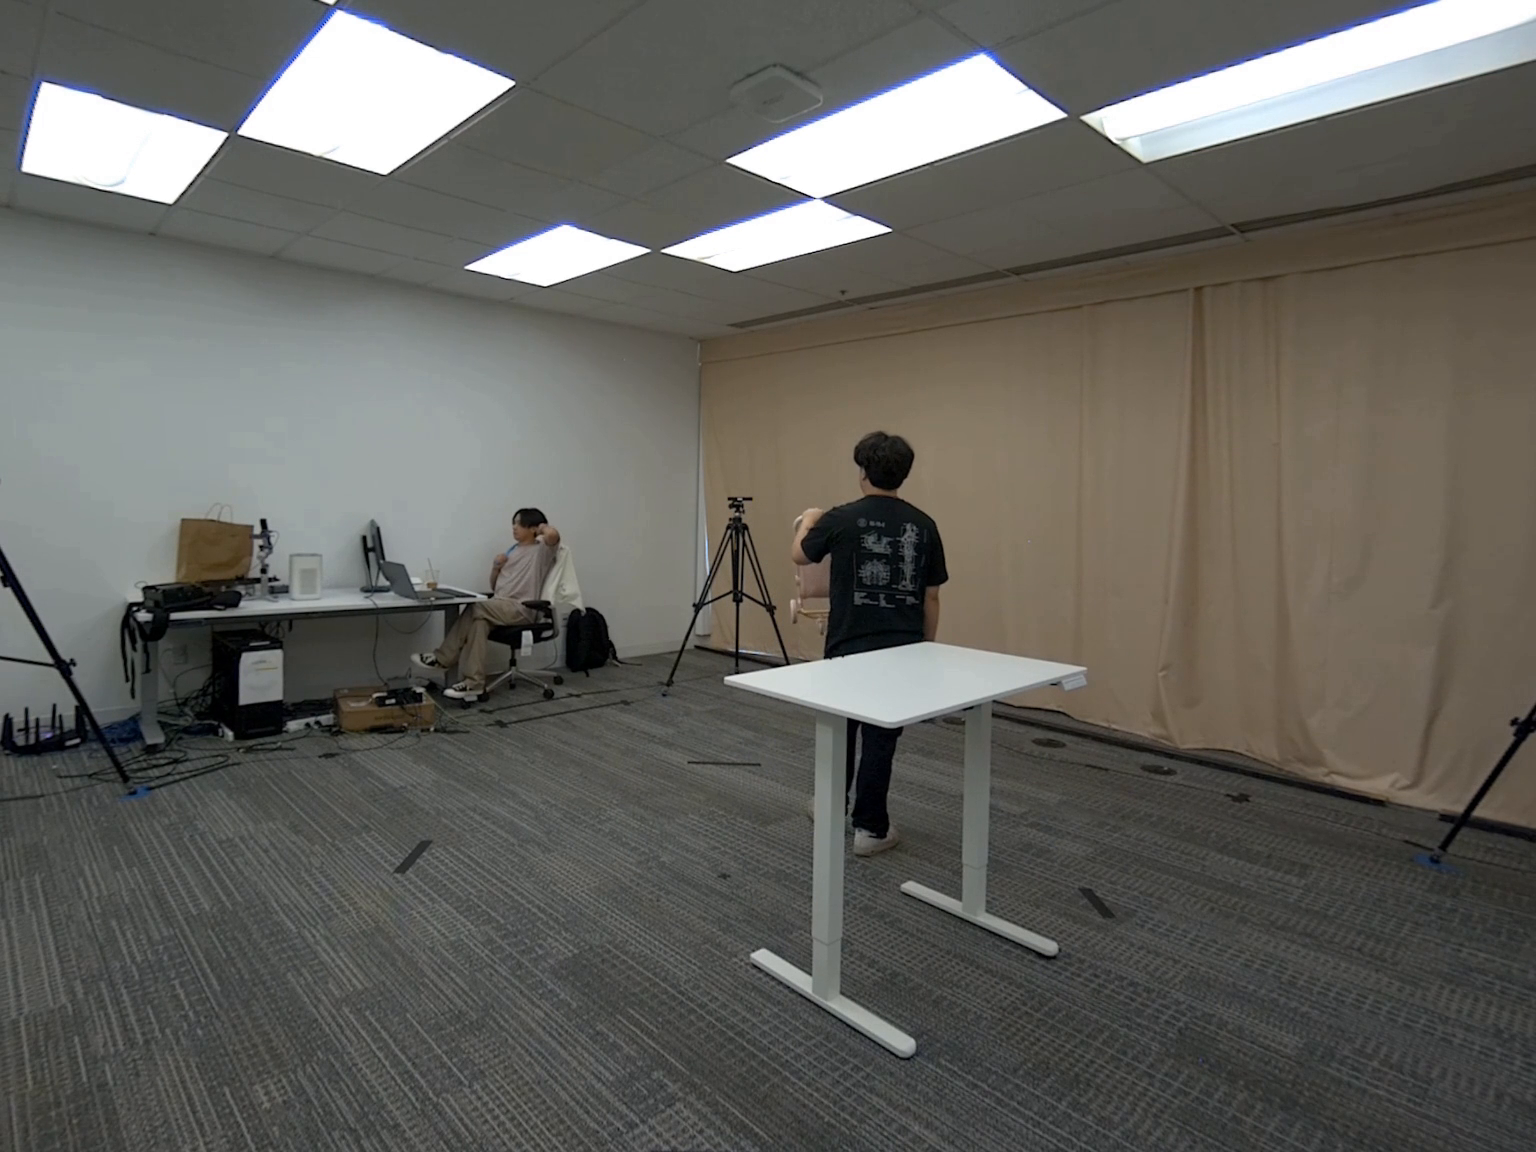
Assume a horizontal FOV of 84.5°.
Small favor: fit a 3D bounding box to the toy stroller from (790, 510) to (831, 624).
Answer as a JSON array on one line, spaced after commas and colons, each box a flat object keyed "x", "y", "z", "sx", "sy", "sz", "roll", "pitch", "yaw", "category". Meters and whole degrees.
[{"x": 0.237, "y": 0.010, "z": 3.888, "sx": 0.283, "sy": 0.537, "sz": 0.337, "roll": -3, "pitch": -5, "yaw": 8, "category": "toy stroller"}]
